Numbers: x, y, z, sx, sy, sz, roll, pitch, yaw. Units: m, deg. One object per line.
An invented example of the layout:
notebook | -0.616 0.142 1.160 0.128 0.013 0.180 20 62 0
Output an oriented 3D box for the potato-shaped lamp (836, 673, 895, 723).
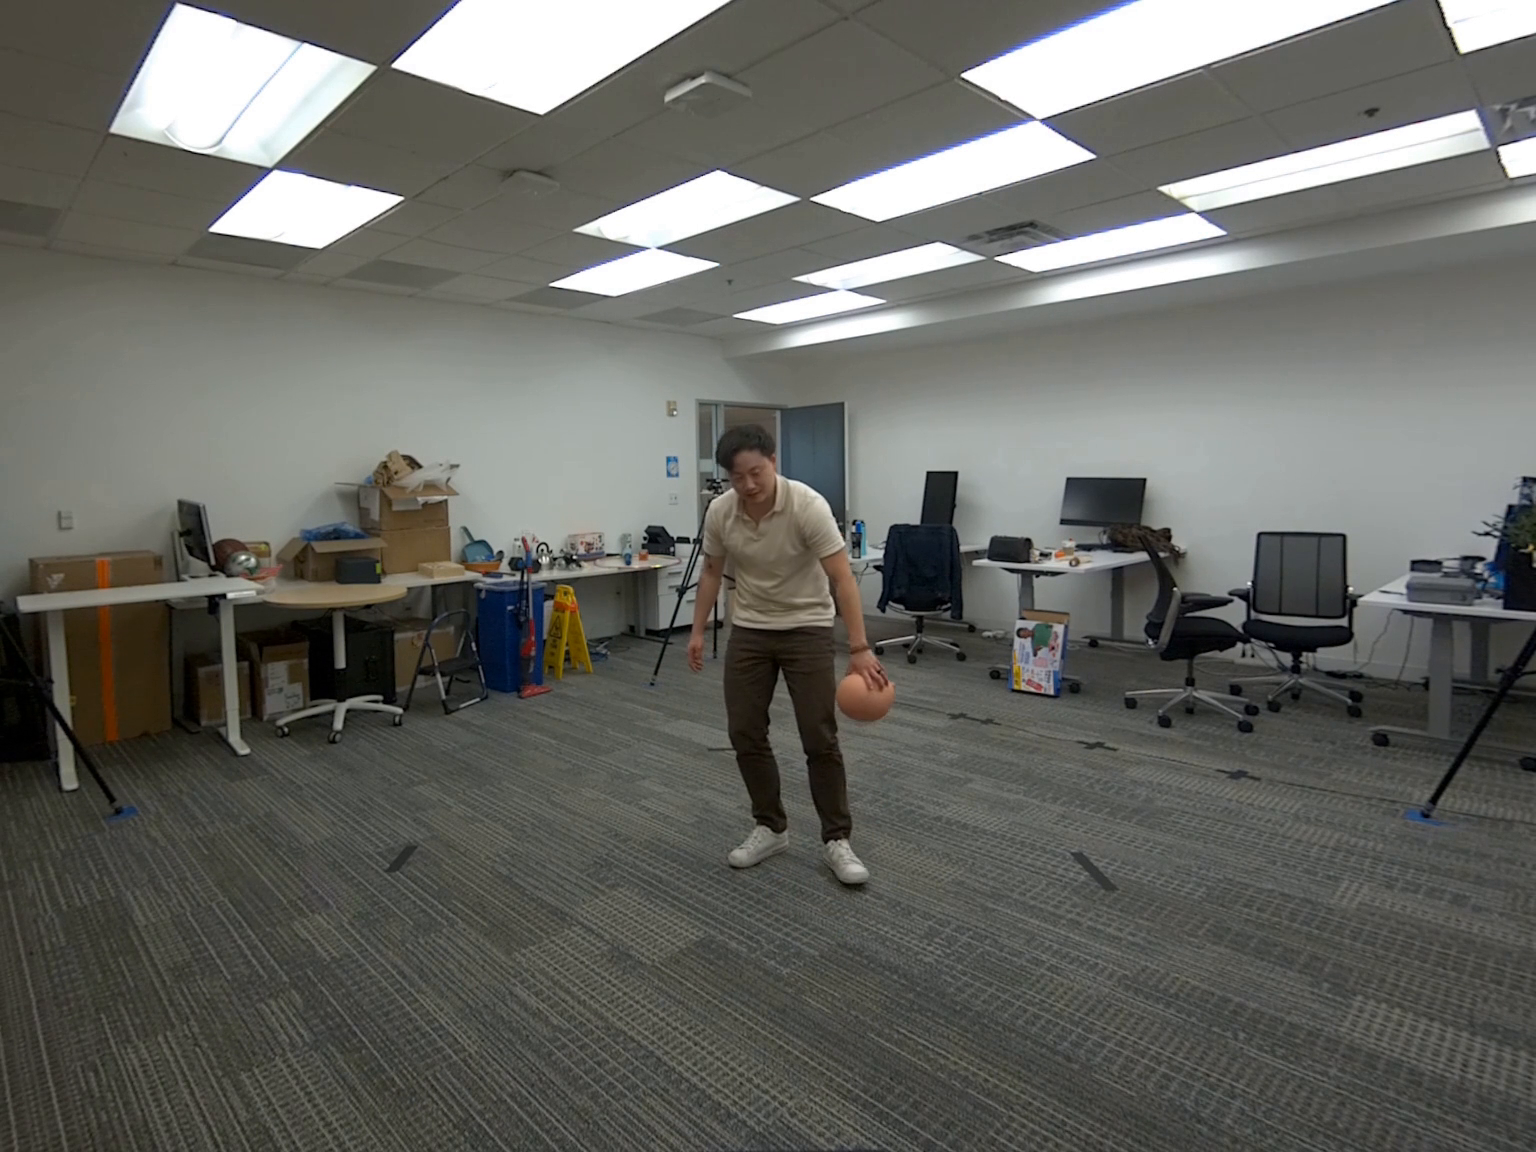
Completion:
potato-shaped lamp | 0.319 0.401 2.845 0.171 0.171 0.191 20 -3 38
